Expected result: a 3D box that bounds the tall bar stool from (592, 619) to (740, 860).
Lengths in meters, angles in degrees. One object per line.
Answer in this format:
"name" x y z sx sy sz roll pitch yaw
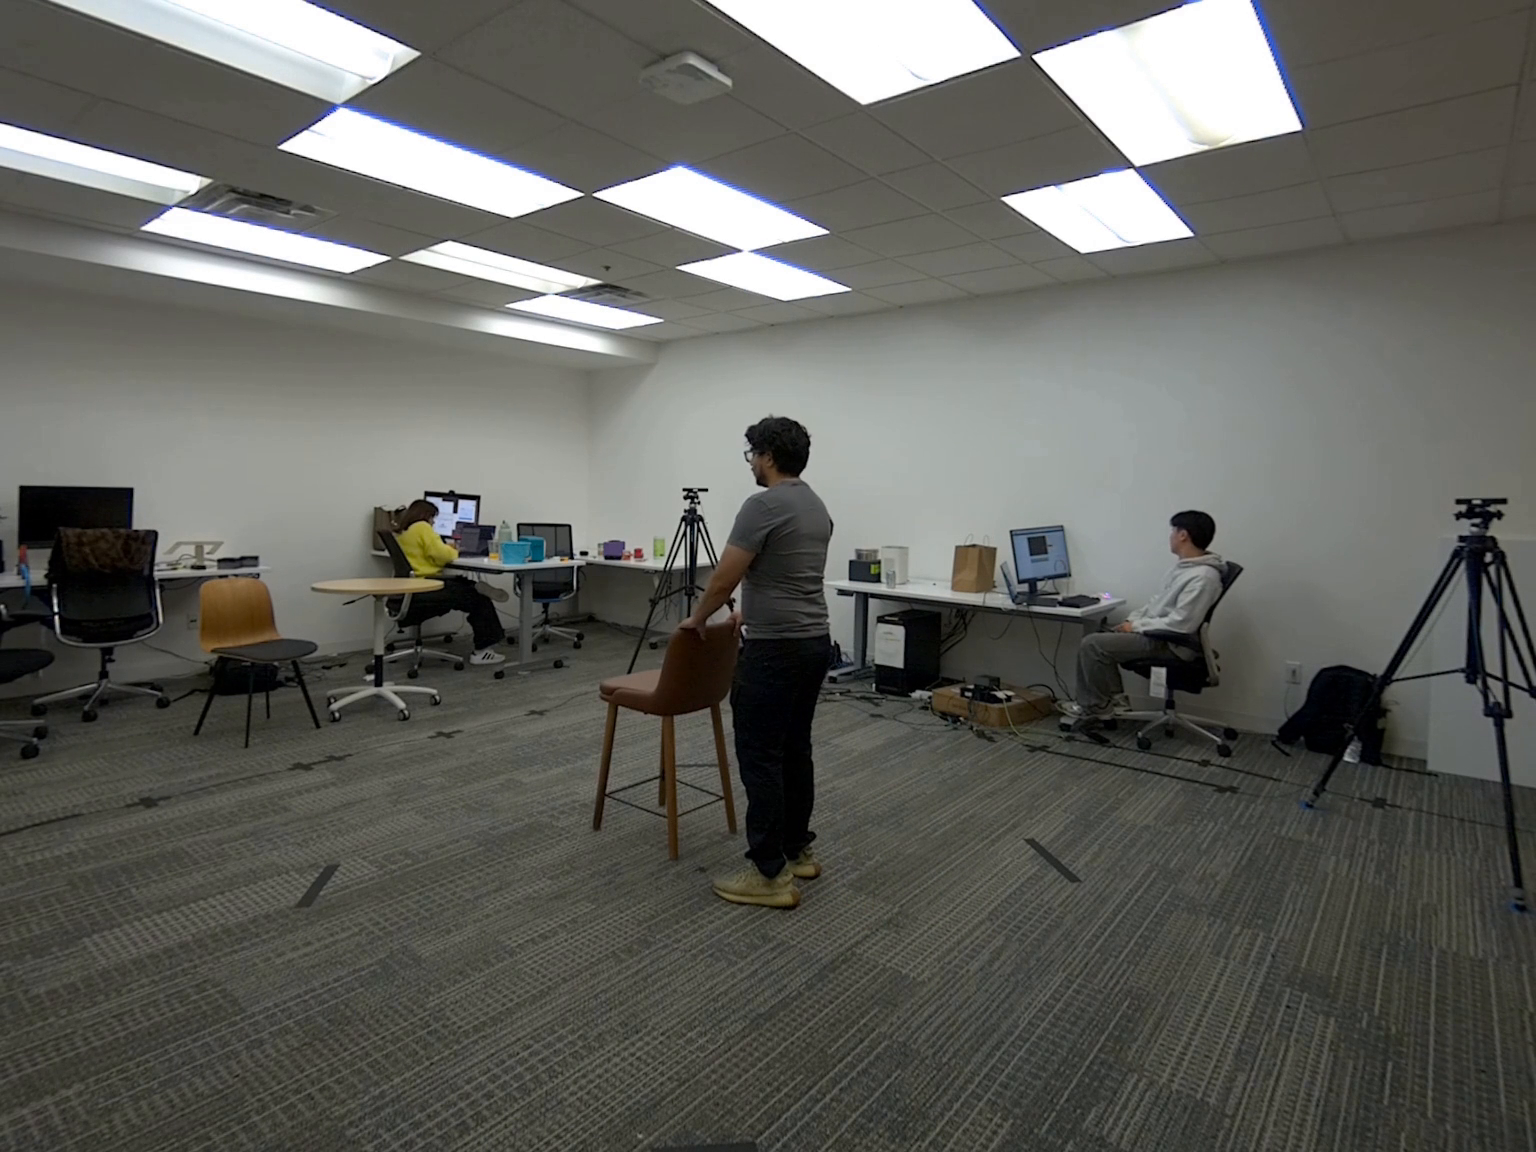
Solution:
"tall bar stool" -0.409 0.598 3.439 0.484 0.887 0.443 6 5 39
